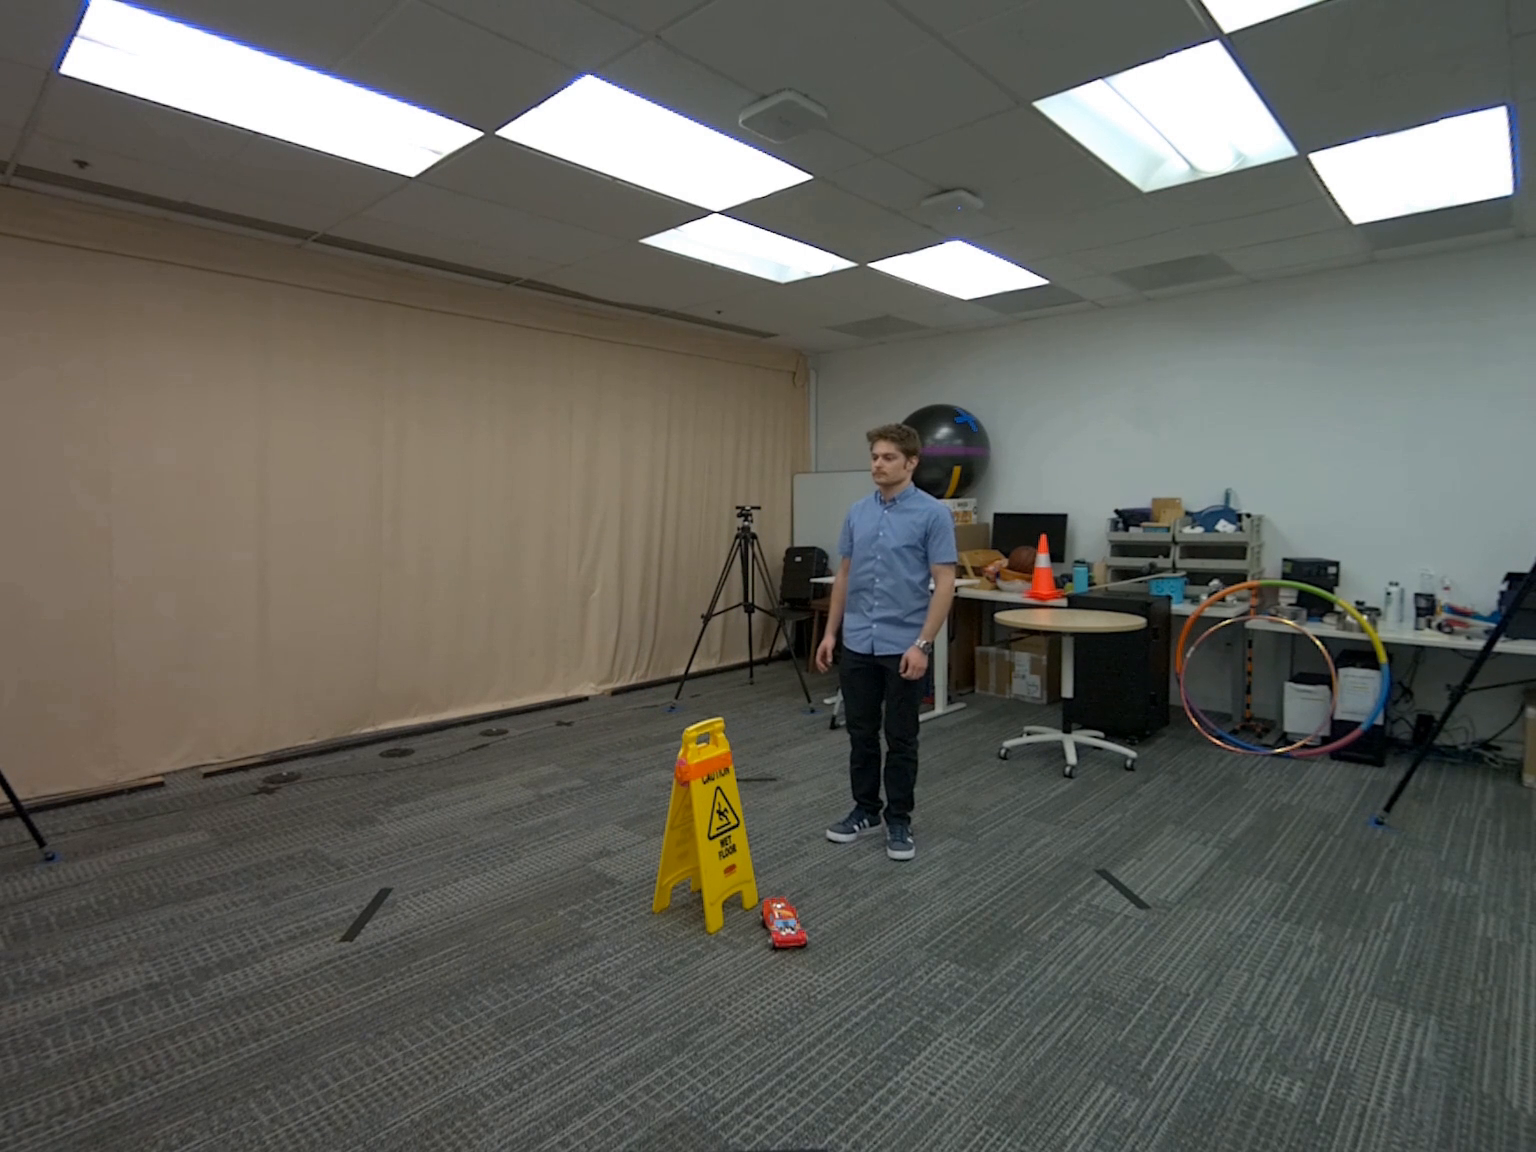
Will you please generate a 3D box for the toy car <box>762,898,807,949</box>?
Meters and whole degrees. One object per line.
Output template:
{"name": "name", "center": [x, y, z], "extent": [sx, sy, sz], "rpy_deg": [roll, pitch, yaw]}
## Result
{"name": "toy car", "center": [0.049, 1.132, 2.742], "extent": [0.129, 0.082, 0.259], "rpy_deg": [0, 15, -8]}
